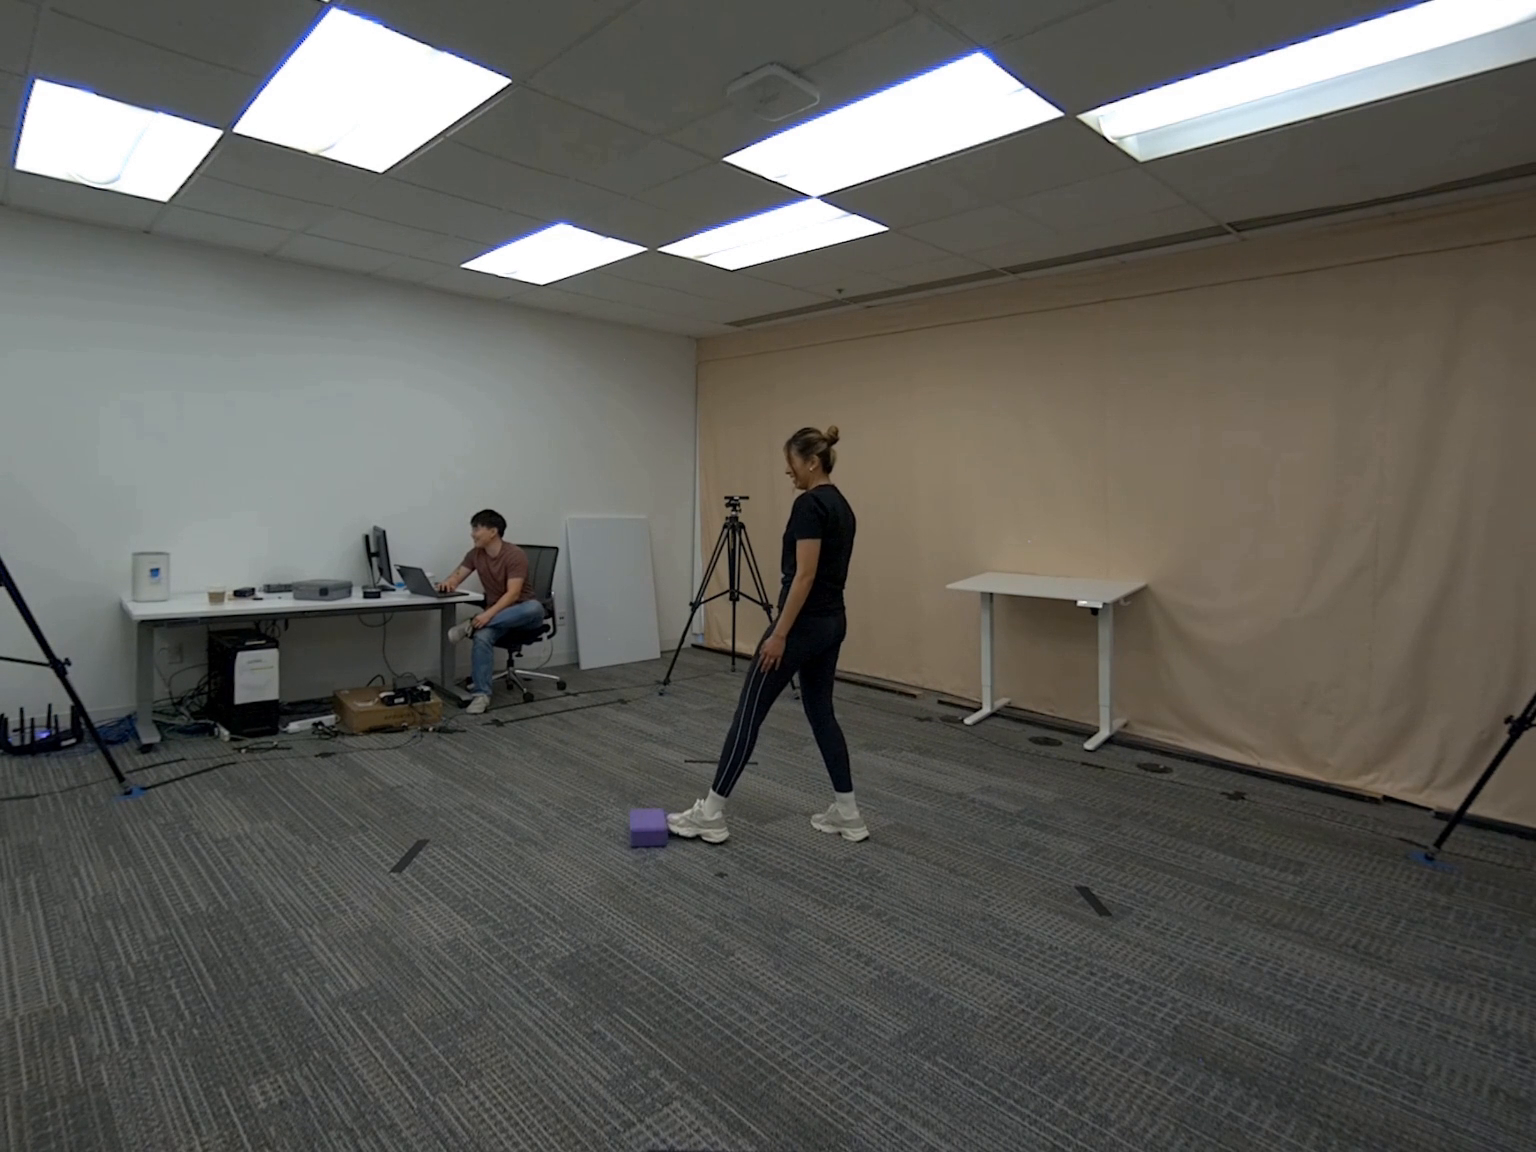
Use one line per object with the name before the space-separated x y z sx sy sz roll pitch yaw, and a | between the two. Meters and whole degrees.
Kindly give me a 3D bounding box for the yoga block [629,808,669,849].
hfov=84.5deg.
yoga block | -0.491 1.023 3.435 0.148 0.076 0.231 0 7 -7
